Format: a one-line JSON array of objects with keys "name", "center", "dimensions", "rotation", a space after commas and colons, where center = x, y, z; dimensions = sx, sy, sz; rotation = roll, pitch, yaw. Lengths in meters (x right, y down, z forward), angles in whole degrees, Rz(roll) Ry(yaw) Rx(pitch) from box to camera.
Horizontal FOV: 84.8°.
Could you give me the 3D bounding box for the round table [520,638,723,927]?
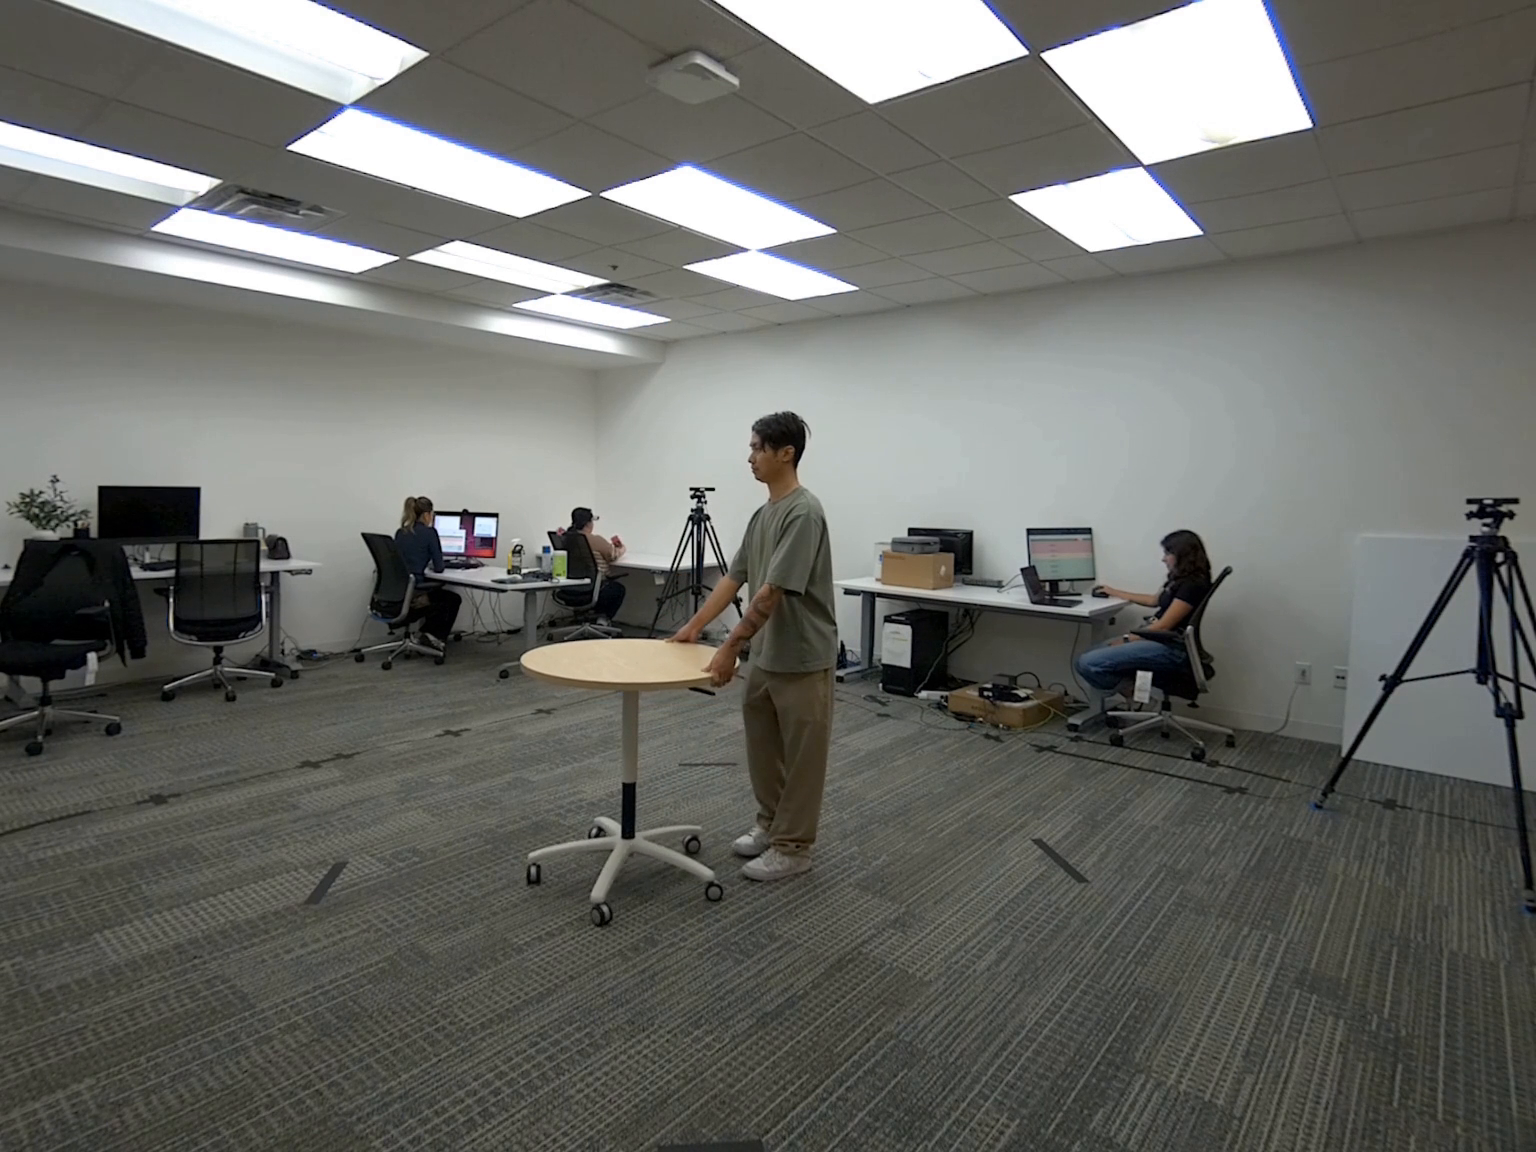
[{"name": "round table", "center": [-0.517, 0.676, 3.023], "dimensions": [0.784, 0.784, 0.789], "rotation": [2, 4, -2]}]
